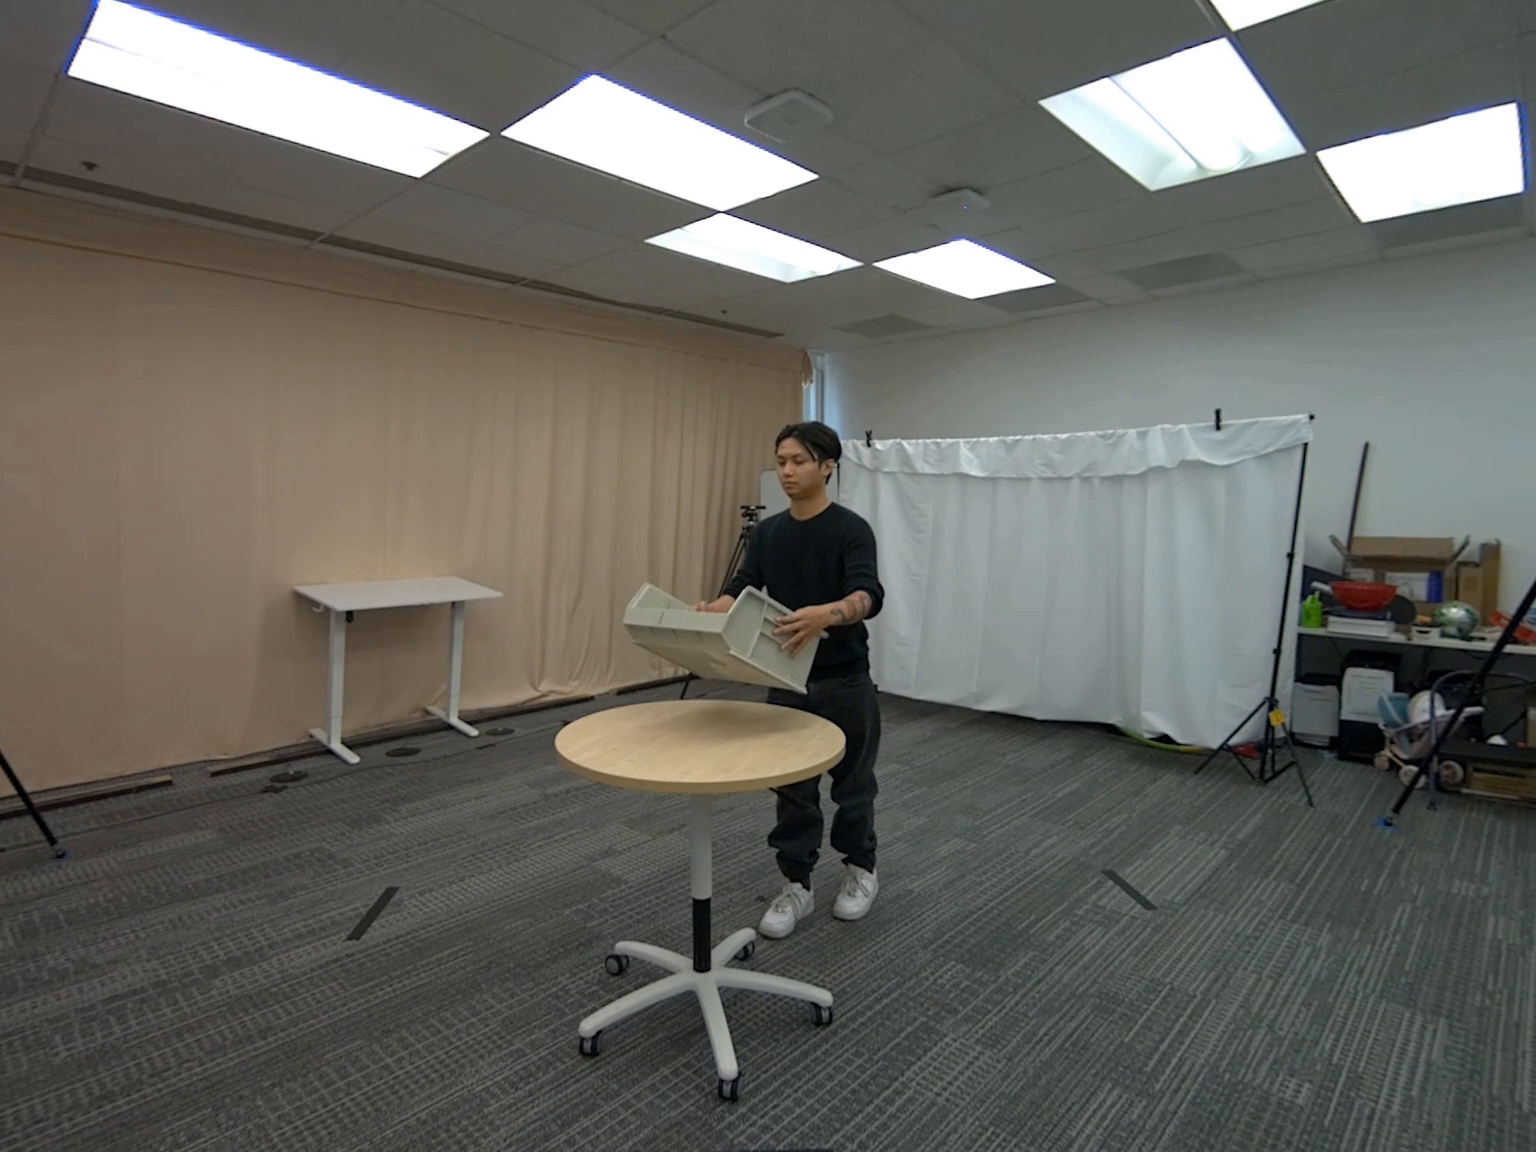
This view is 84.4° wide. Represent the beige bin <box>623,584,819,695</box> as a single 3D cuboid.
[{"bbox_3d":[-0.124,0.169,2.338,0.436,0.190,0.364,0,-25,45],"label":"beige bin"}]
